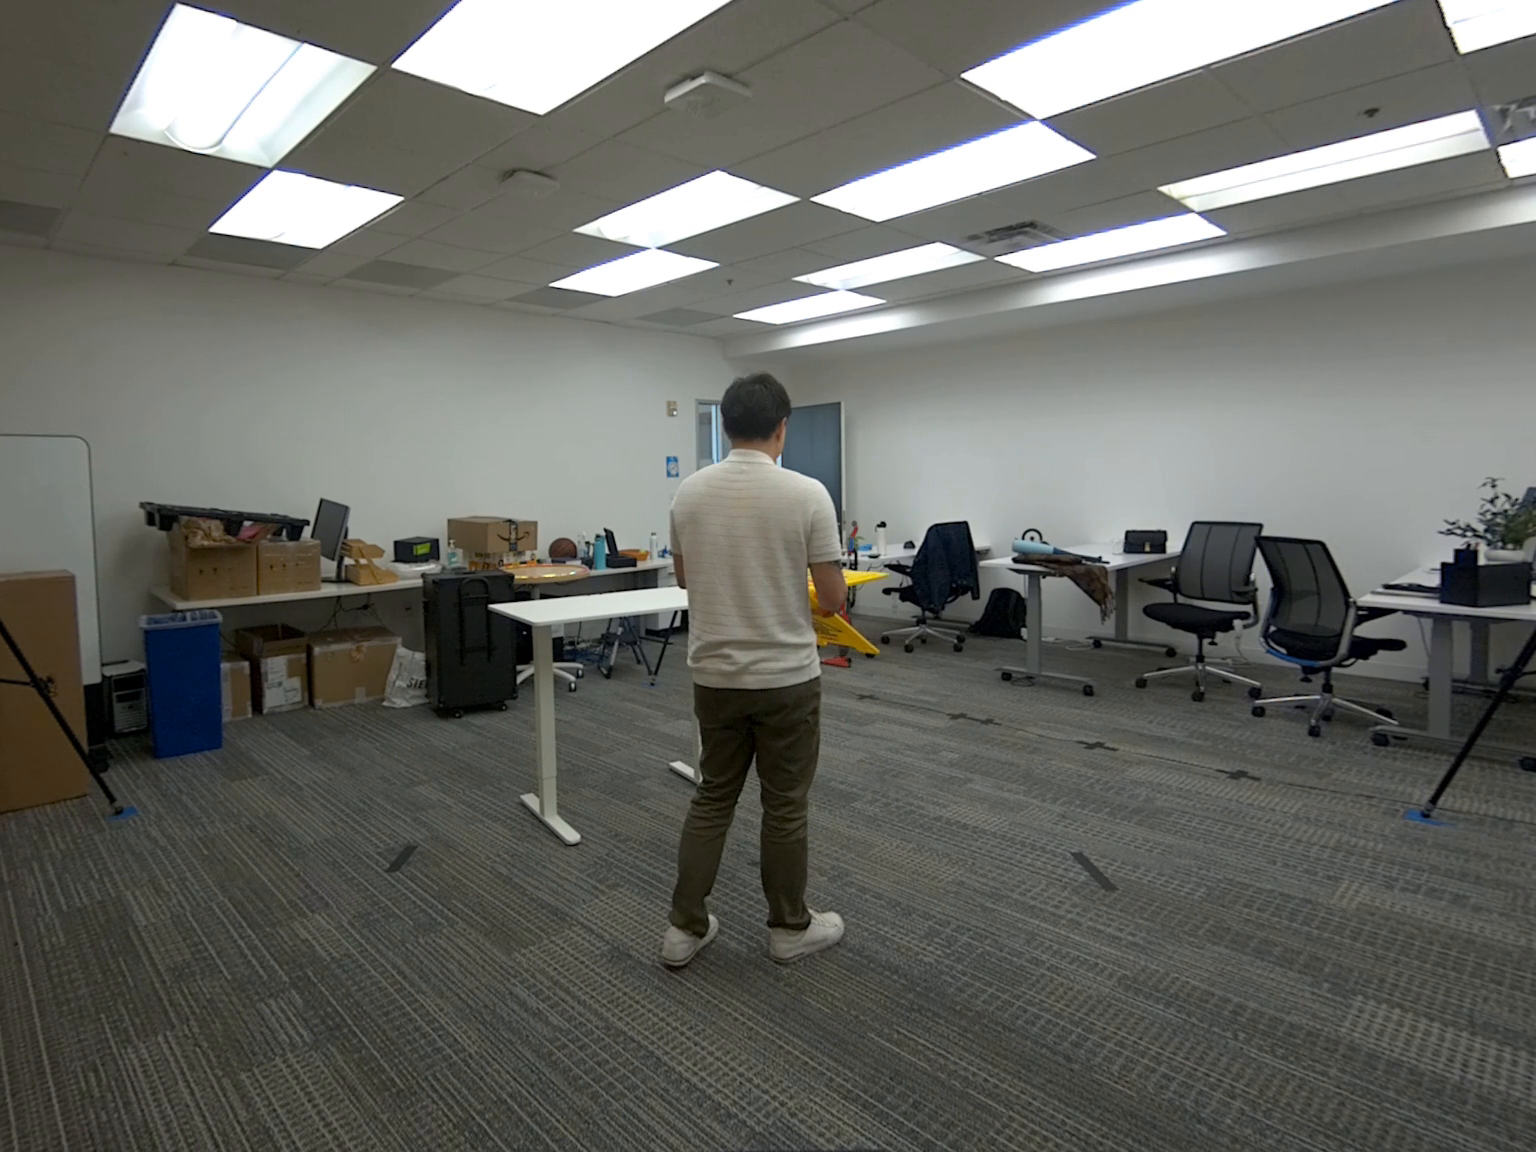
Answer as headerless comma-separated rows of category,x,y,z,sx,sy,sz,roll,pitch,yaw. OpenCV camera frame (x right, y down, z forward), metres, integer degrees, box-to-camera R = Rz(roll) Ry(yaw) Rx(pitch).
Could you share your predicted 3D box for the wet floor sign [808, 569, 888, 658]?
wet floor sign,0.158,0.080,2.890,0.290,0.291,0.626,6,-6,27
